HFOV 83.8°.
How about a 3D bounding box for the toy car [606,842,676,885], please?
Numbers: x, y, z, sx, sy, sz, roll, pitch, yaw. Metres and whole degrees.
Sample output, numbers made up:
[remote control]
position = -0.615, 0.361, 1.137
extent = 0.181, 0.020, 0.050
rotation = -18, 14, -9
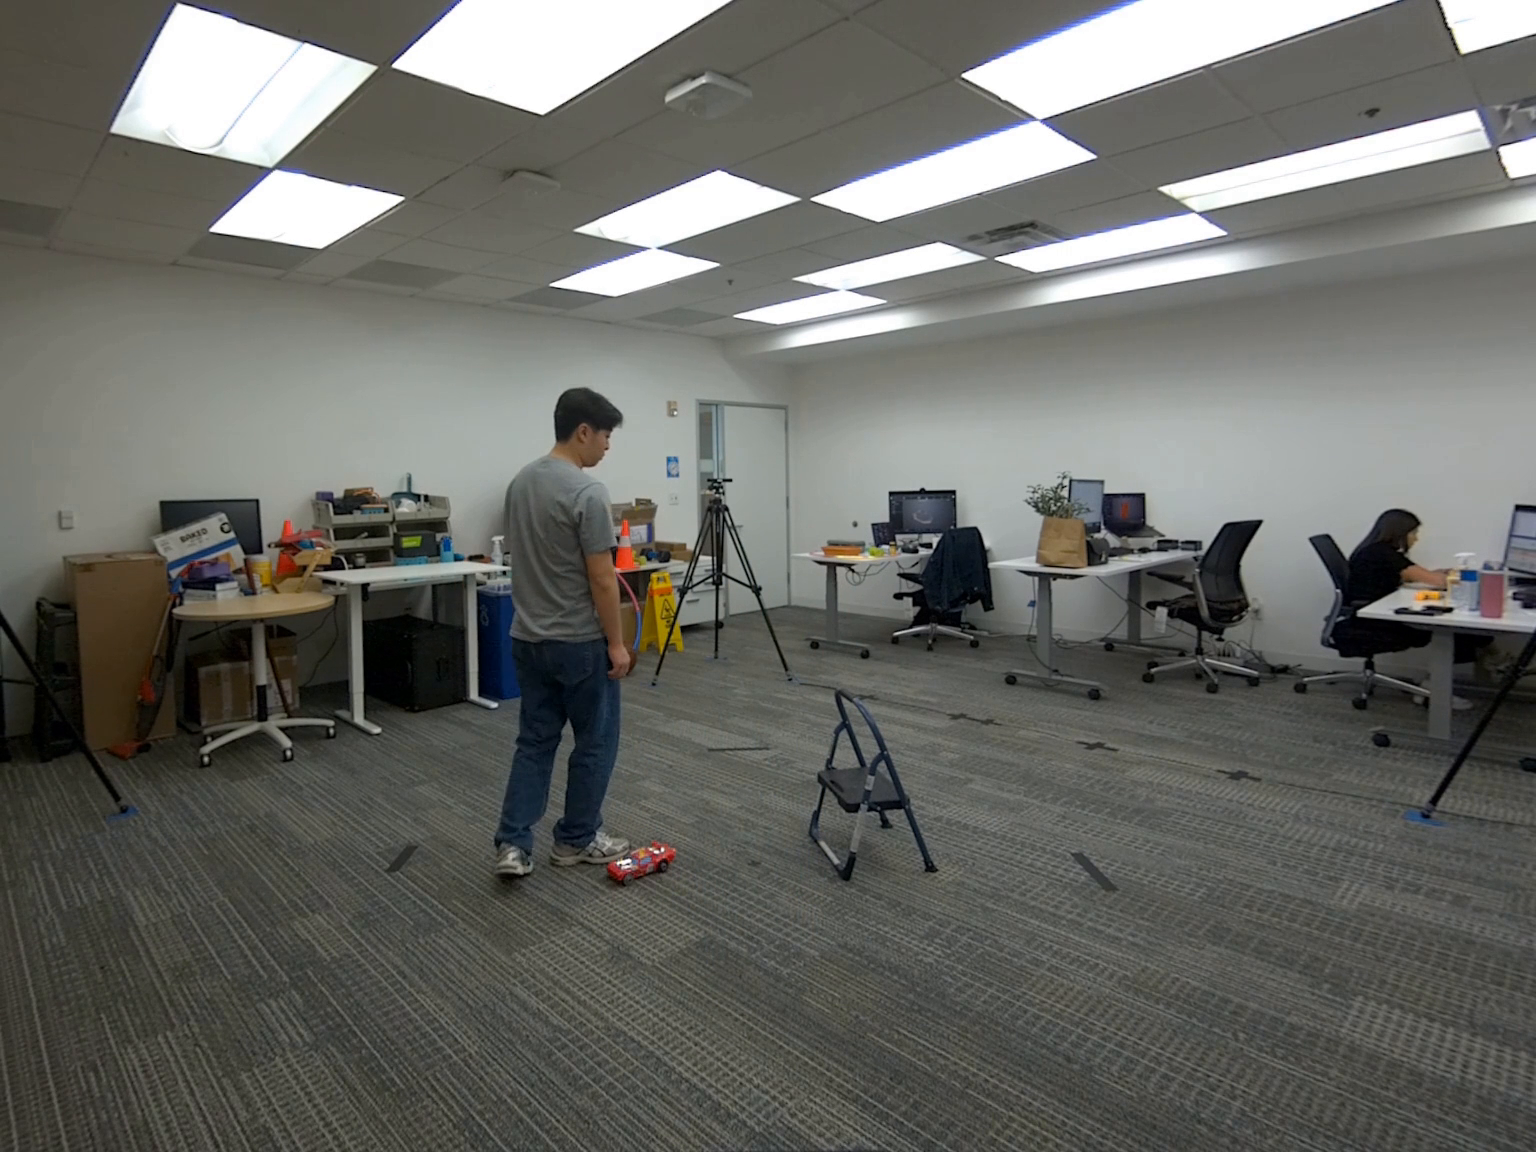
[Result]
[toy car]
position = -0.445, 1.020, 3.048
extent = 0.250, 0.082, 0.134
rotation = -20, 16, -36
